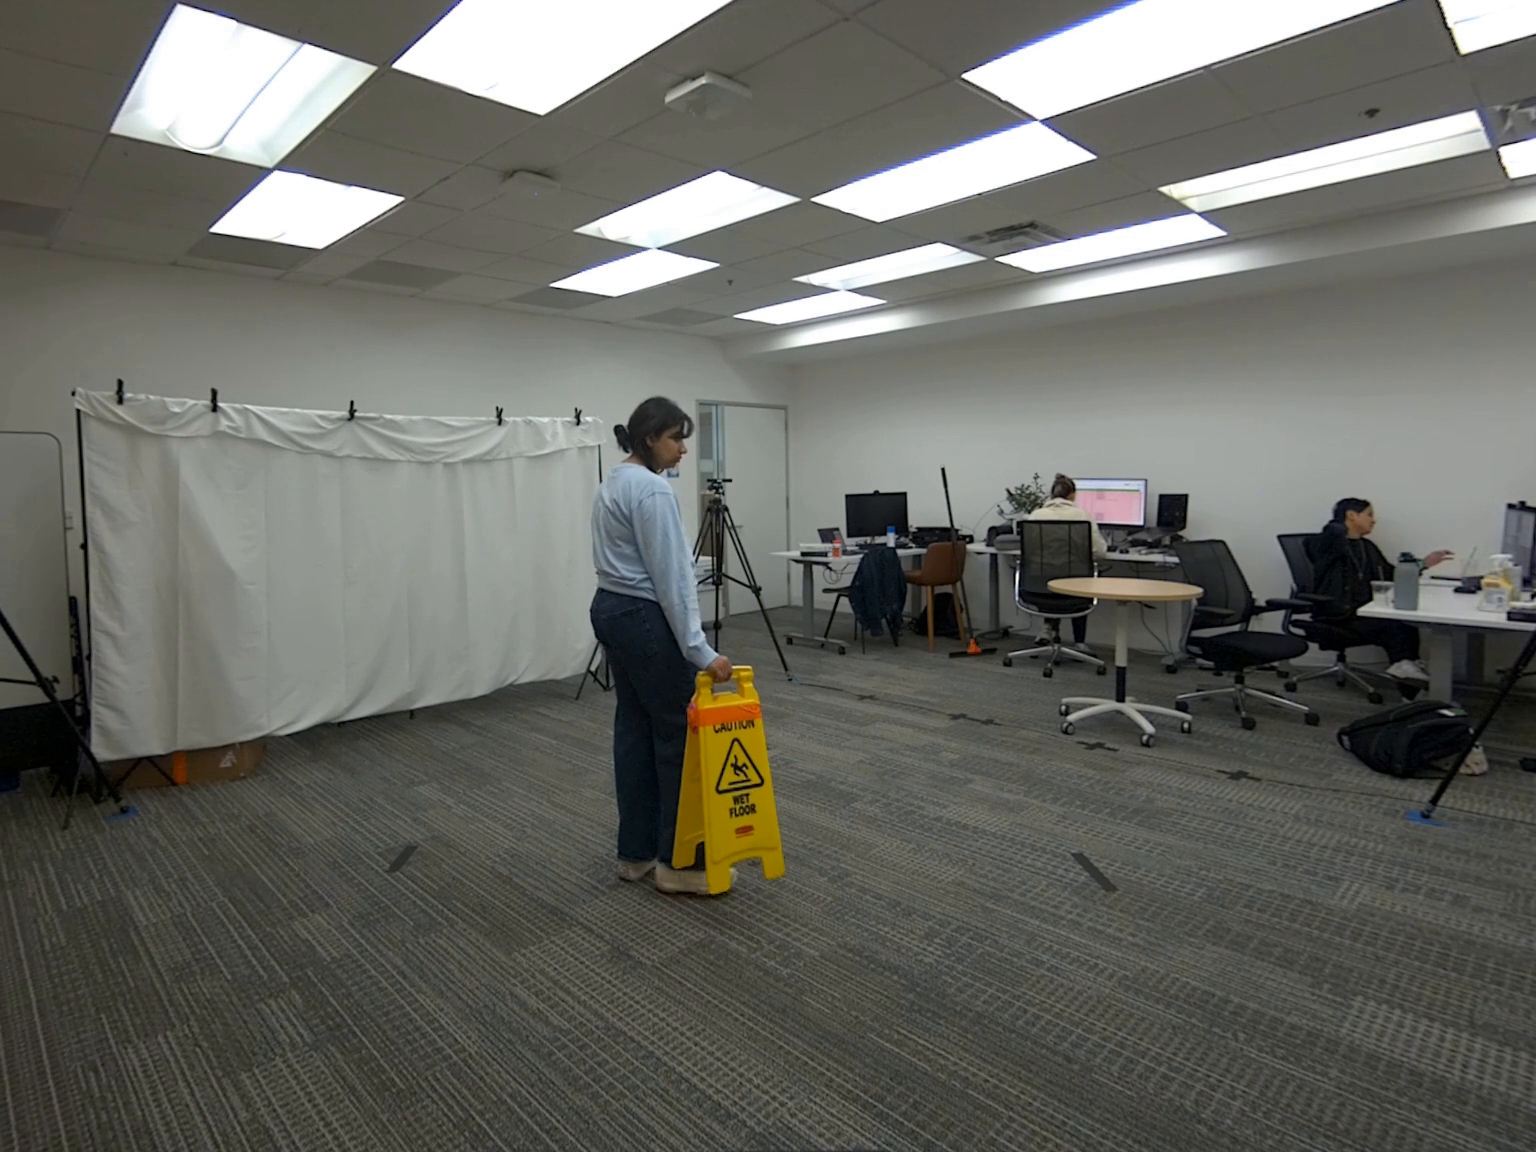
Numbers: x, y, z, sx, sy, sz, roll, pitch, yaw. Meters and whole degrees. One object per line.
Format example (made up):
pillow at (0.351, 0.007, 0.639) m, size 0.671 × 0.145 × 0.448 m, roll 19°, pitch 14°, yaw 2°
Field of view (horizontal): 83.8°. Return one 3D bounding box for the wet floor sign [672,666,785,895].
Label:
wet floor sign at (-0.129, 0.620, 2.726) m, size 0.275 × 0.645 × 0.297 m, roll -1°, pitch 2°, yaw -31°
